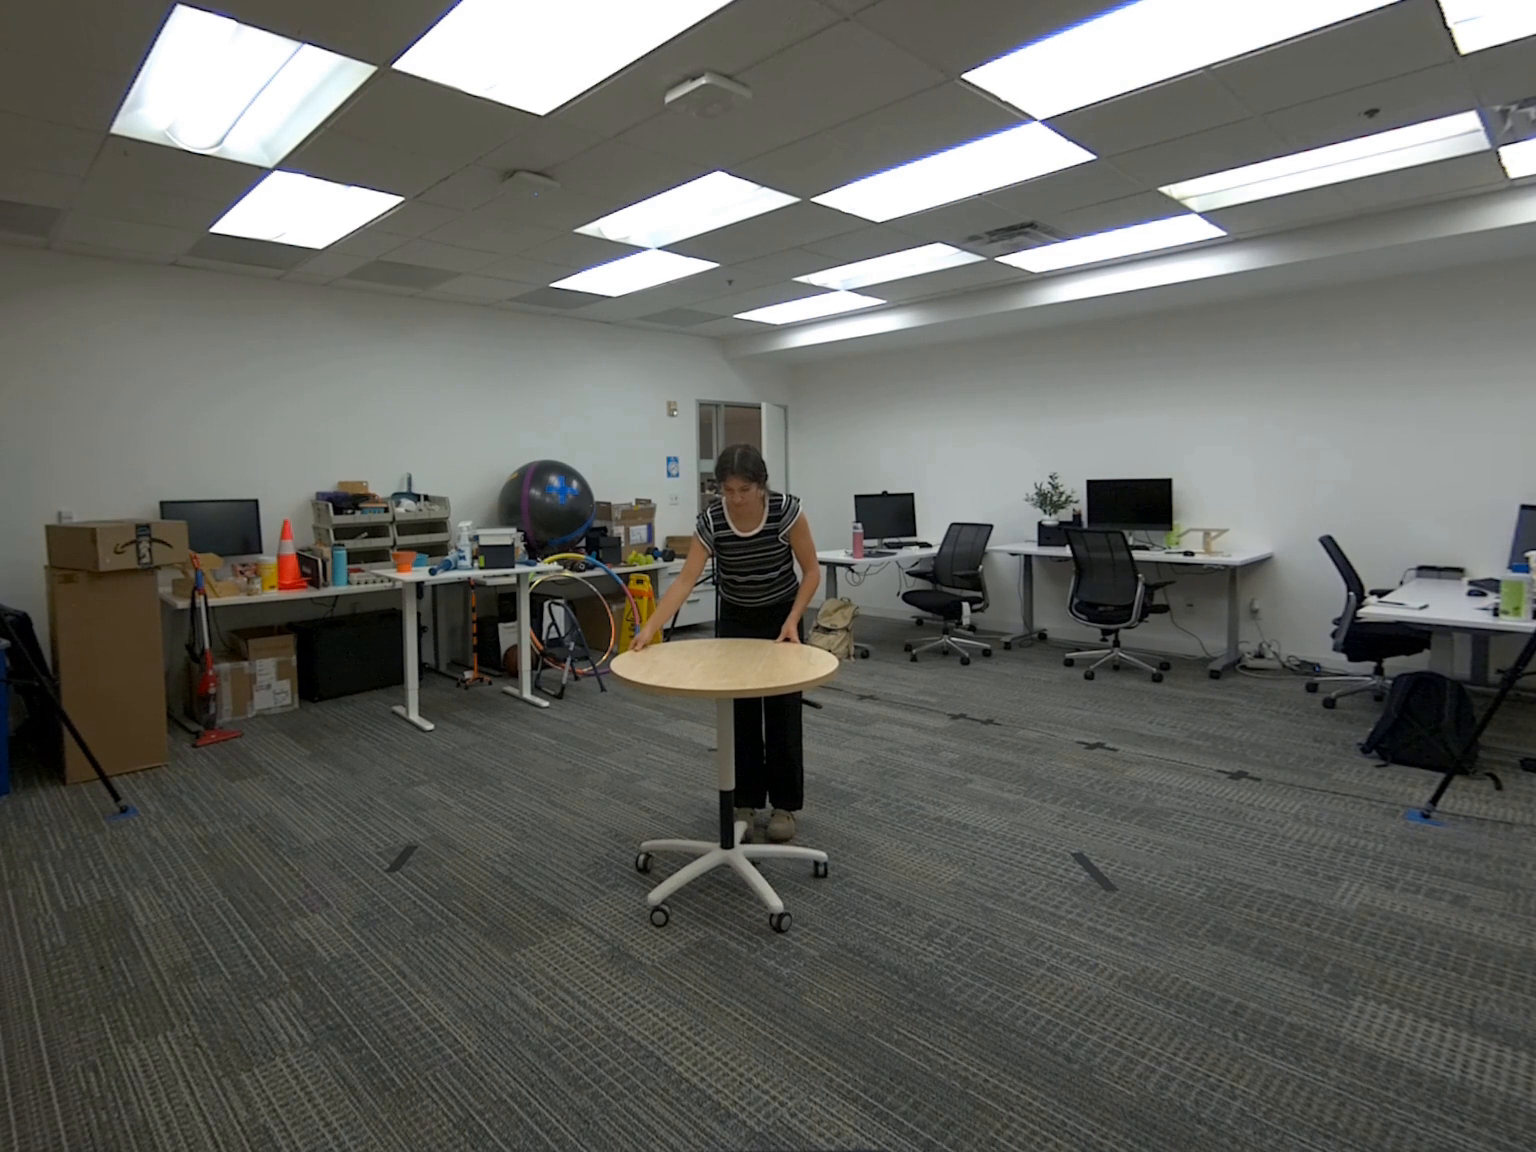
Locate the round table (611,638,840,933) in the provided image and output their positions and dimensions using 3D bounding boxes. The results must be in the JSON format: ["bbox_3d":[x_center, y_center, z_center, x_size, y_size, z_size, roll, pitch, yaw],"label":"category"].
[{"bbox_3d":[-0.157,0.678,2.891,0.784,0.783,0.789,-1,5,-2],"label":"round table"}]
